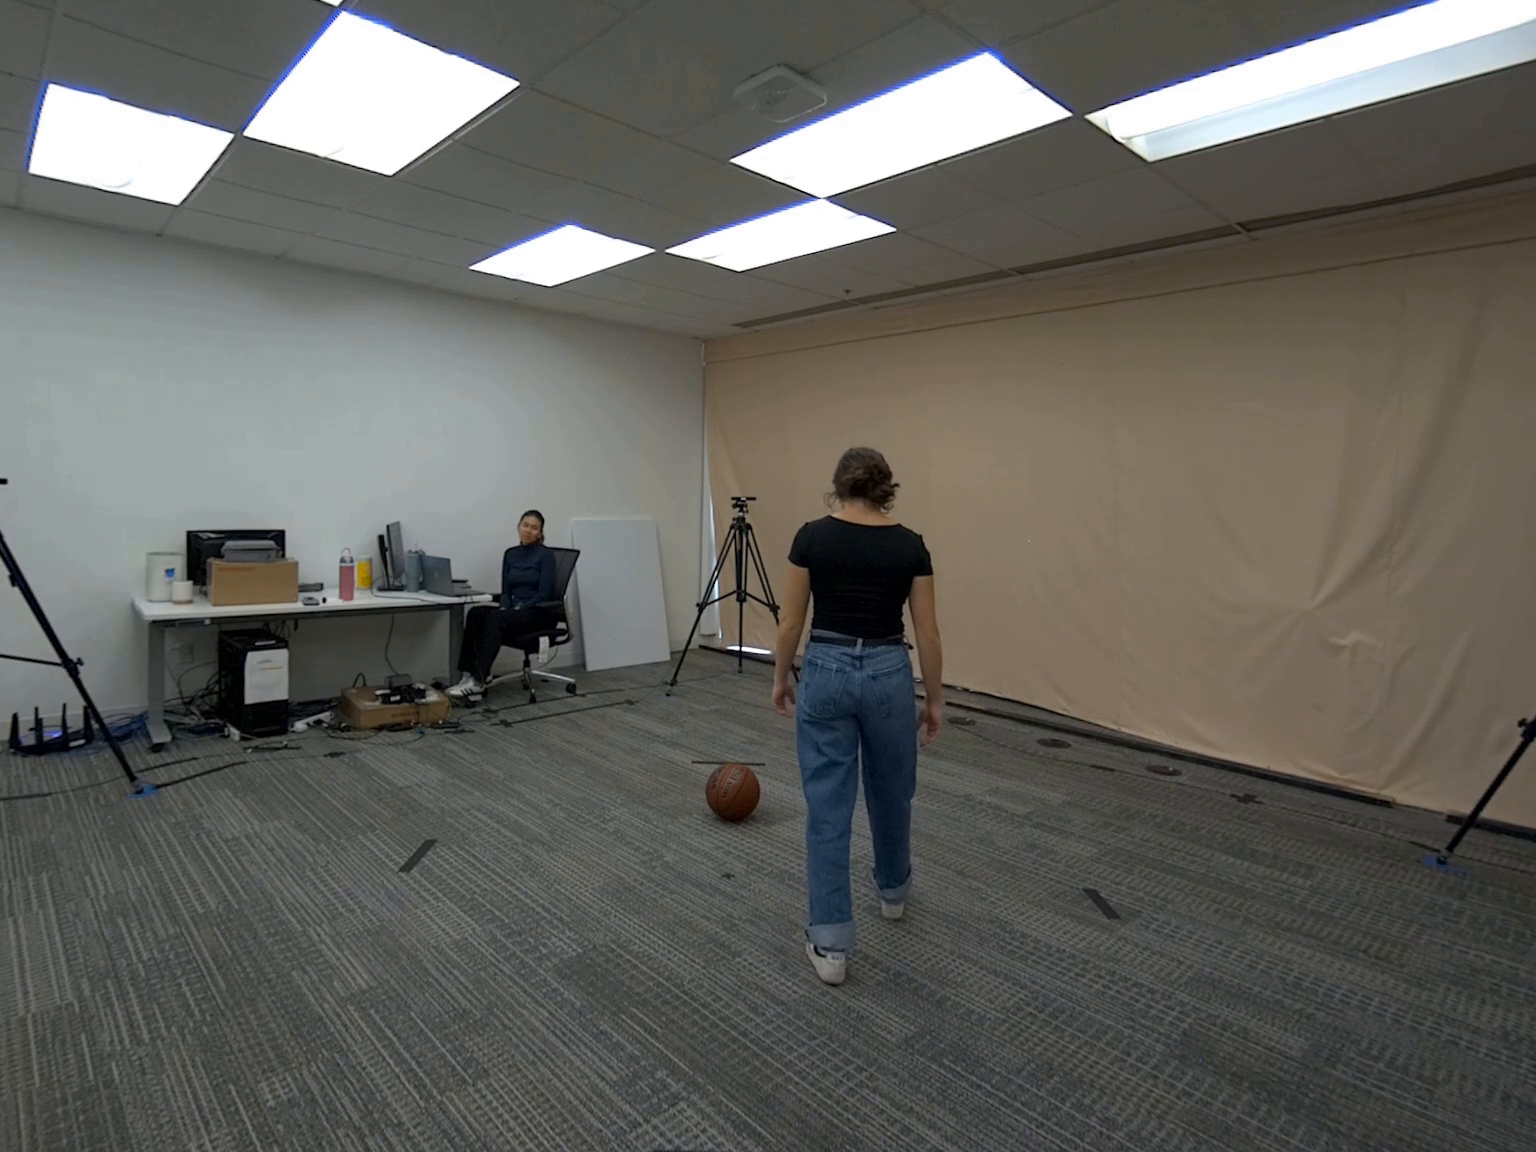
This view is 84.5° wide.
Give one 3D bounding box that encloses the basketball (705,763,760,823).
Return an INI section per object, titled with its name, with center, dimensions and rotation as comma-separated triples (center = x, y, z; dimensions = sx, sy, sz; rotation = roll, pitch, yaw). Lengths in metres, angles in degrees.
[basketball]
center = -0.163, 0.937, 3.666
dimensions = 0.236, 0.235, 0.237
rotation = 1, 4, -1
